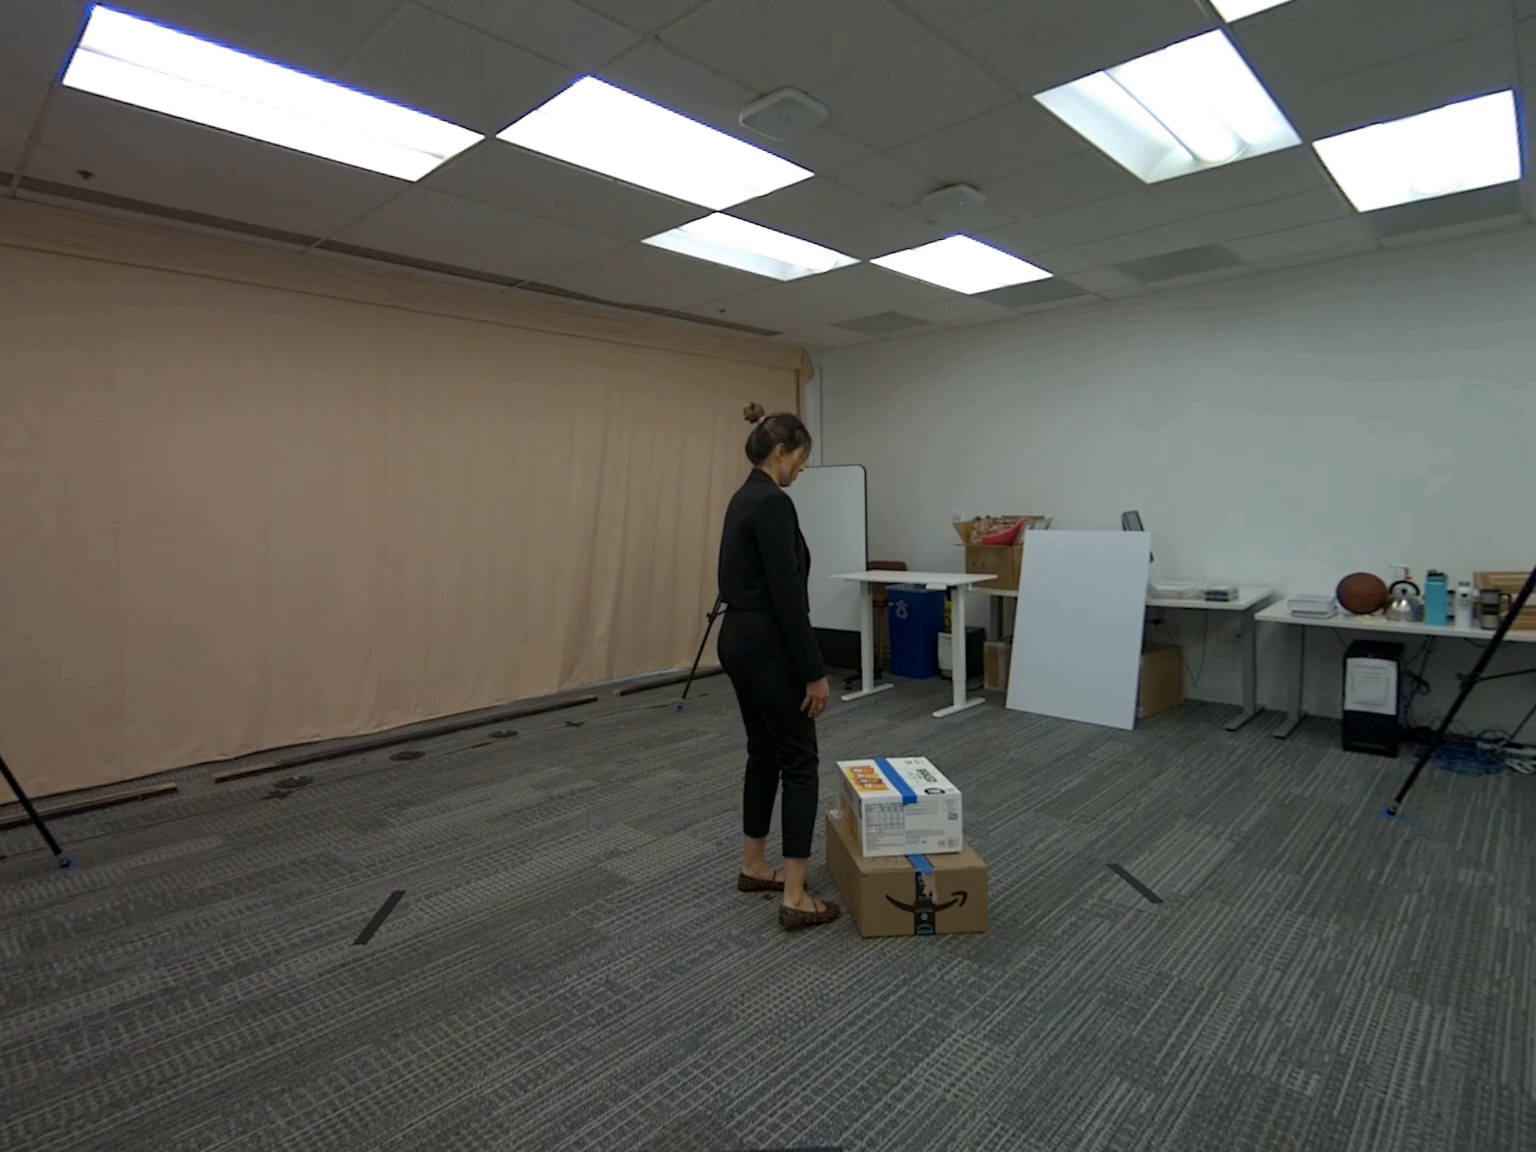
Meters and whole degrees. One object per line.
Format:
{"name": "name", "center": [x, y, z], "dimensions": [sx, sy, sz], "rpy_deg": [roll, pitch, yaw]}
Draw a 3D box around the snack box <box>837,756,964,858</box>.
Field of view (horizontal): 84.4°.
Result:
{"name": "snack box", "center": [0.463, 0.815, 2.993], "dimensions": [0.338, 0.205, 0.409], "rpy_deg": [-3, 5, -6]}
